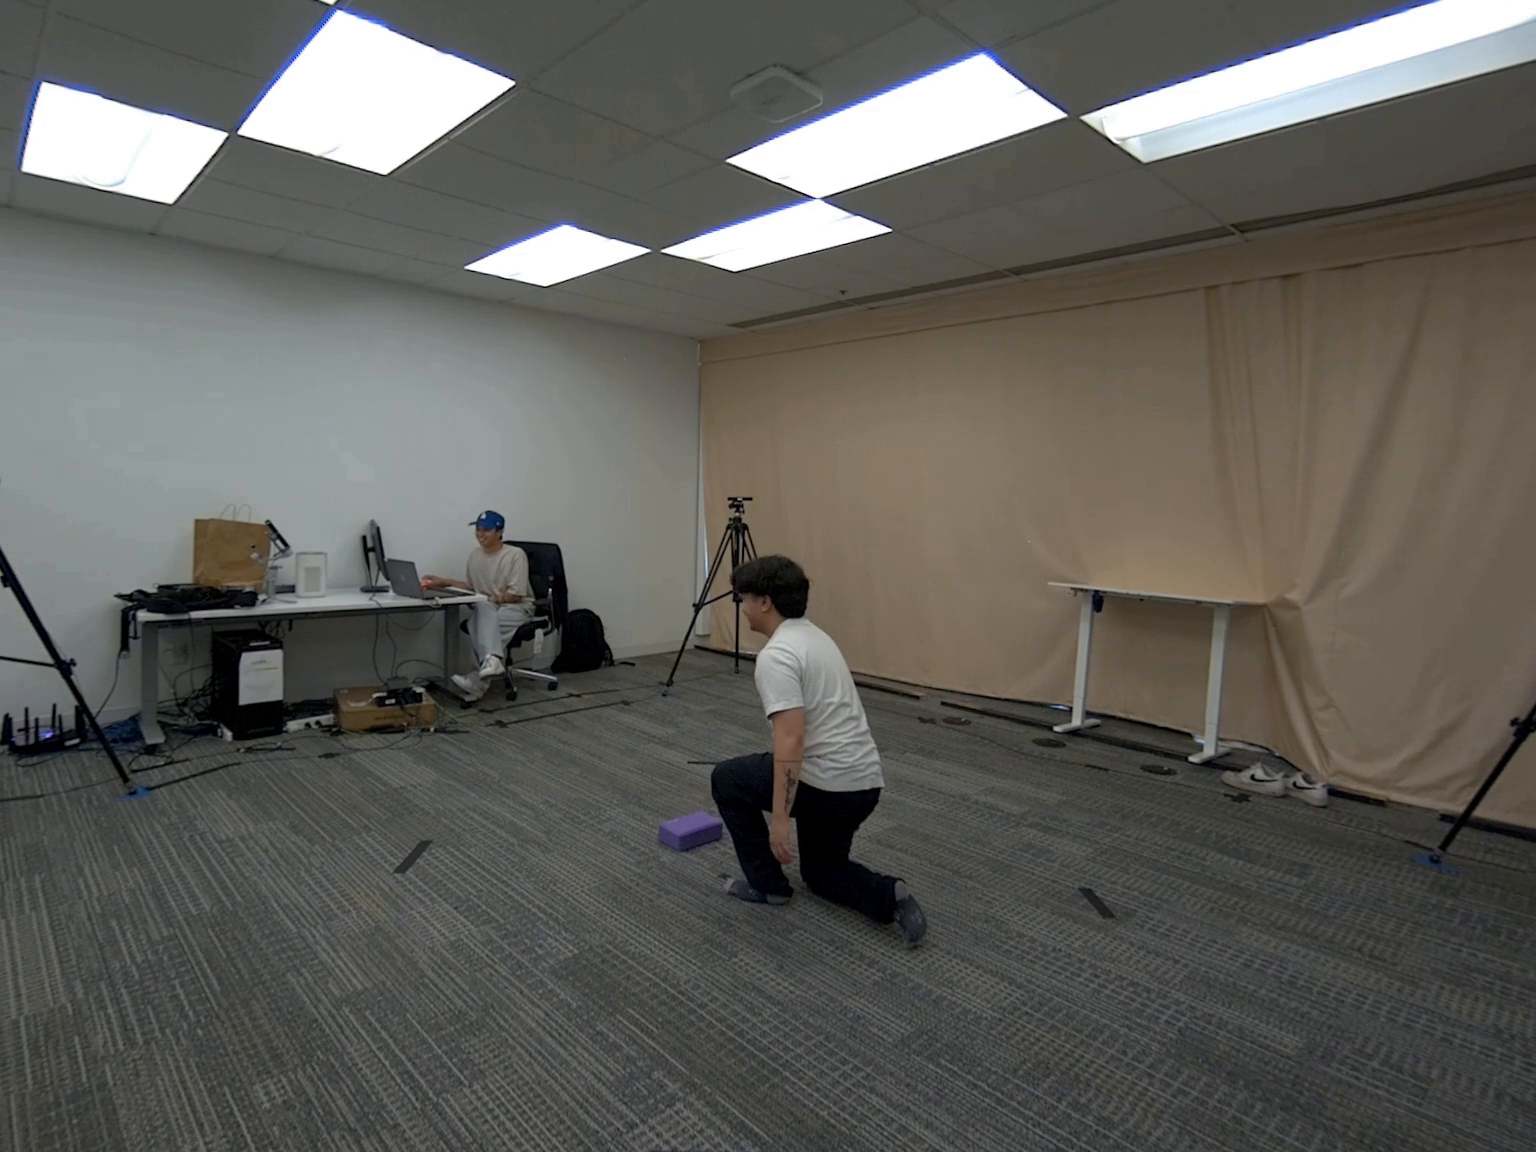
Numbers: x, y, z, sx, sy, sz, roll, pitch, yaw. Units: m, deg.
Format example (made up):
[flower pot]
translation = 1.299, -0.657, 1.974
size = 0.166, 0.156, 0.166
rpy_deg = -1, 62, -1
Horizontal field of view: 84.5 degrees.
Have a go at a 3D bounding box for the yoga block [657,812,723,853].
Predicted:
[yoga block]
translation = -0.321, 1.038, 3.424
size = 0.224, 0.076, 0.153
rpy_deg = -4, 8, -45
